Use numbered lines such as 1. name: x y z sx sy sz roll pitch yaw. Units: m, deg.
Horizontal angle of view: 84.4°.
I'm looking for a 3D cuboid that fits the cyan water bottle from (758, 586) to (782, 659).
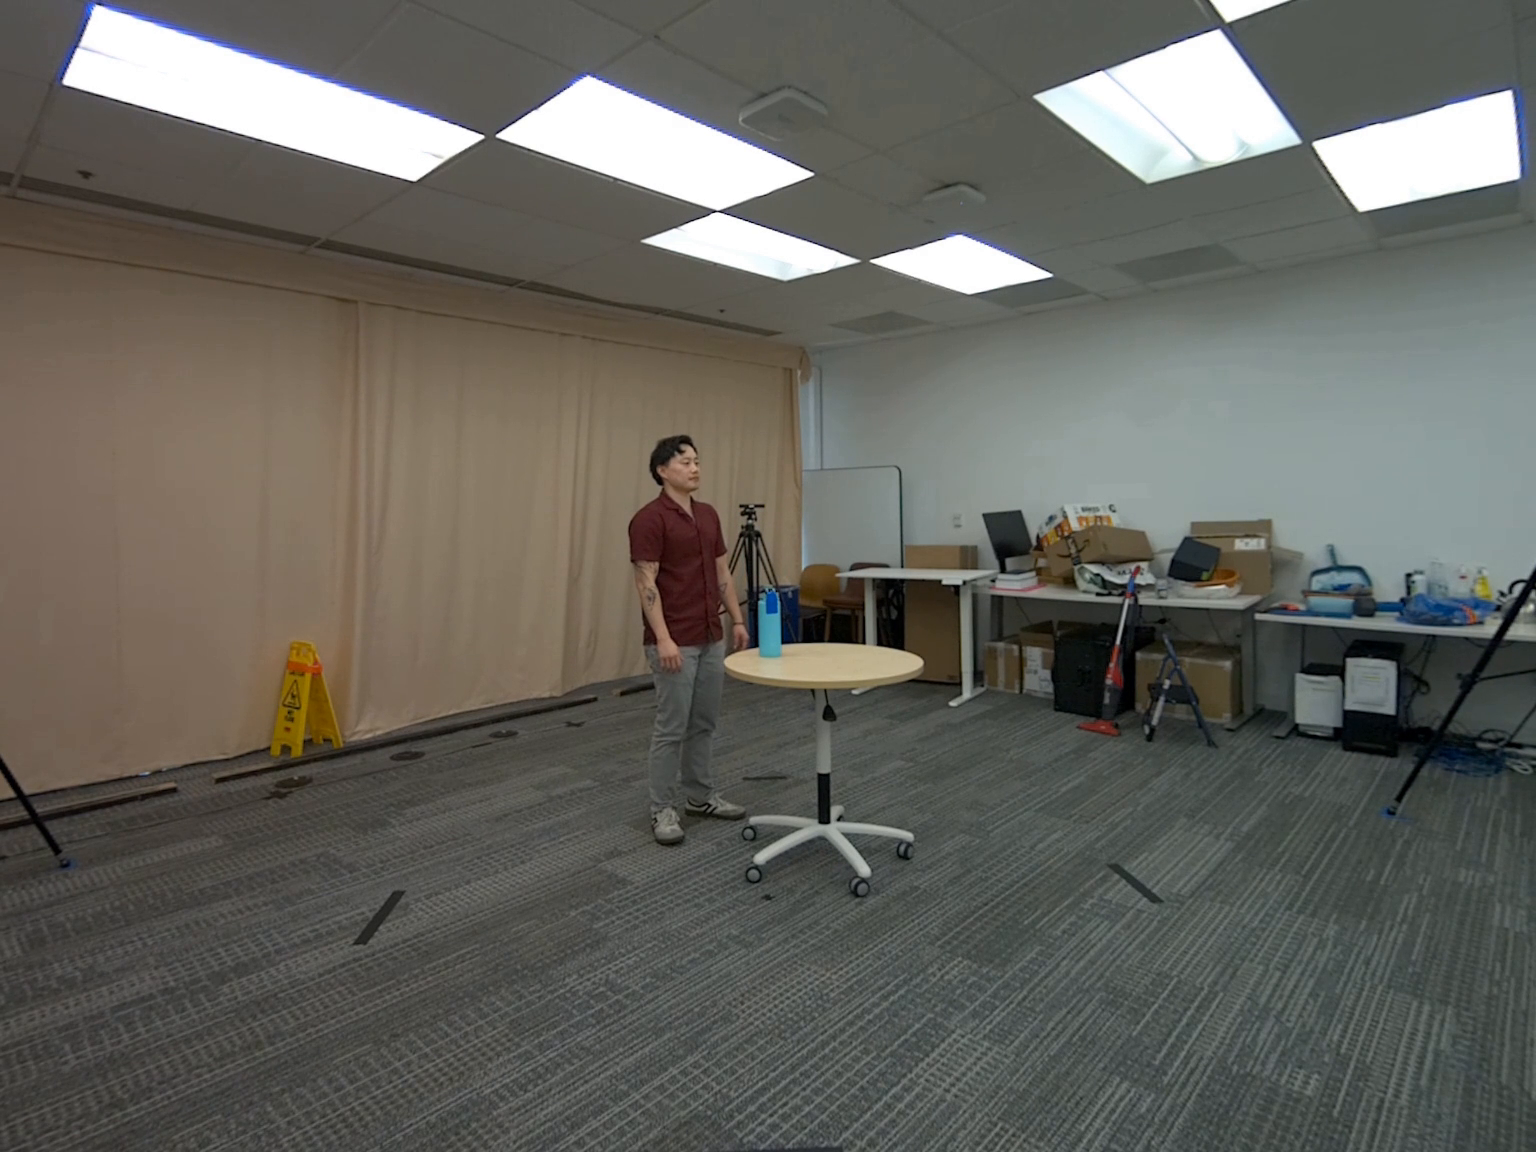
1. cyan water bottle: 0.011 0.181 3.388 0.092 0.283 0.092 -1 3 -2
